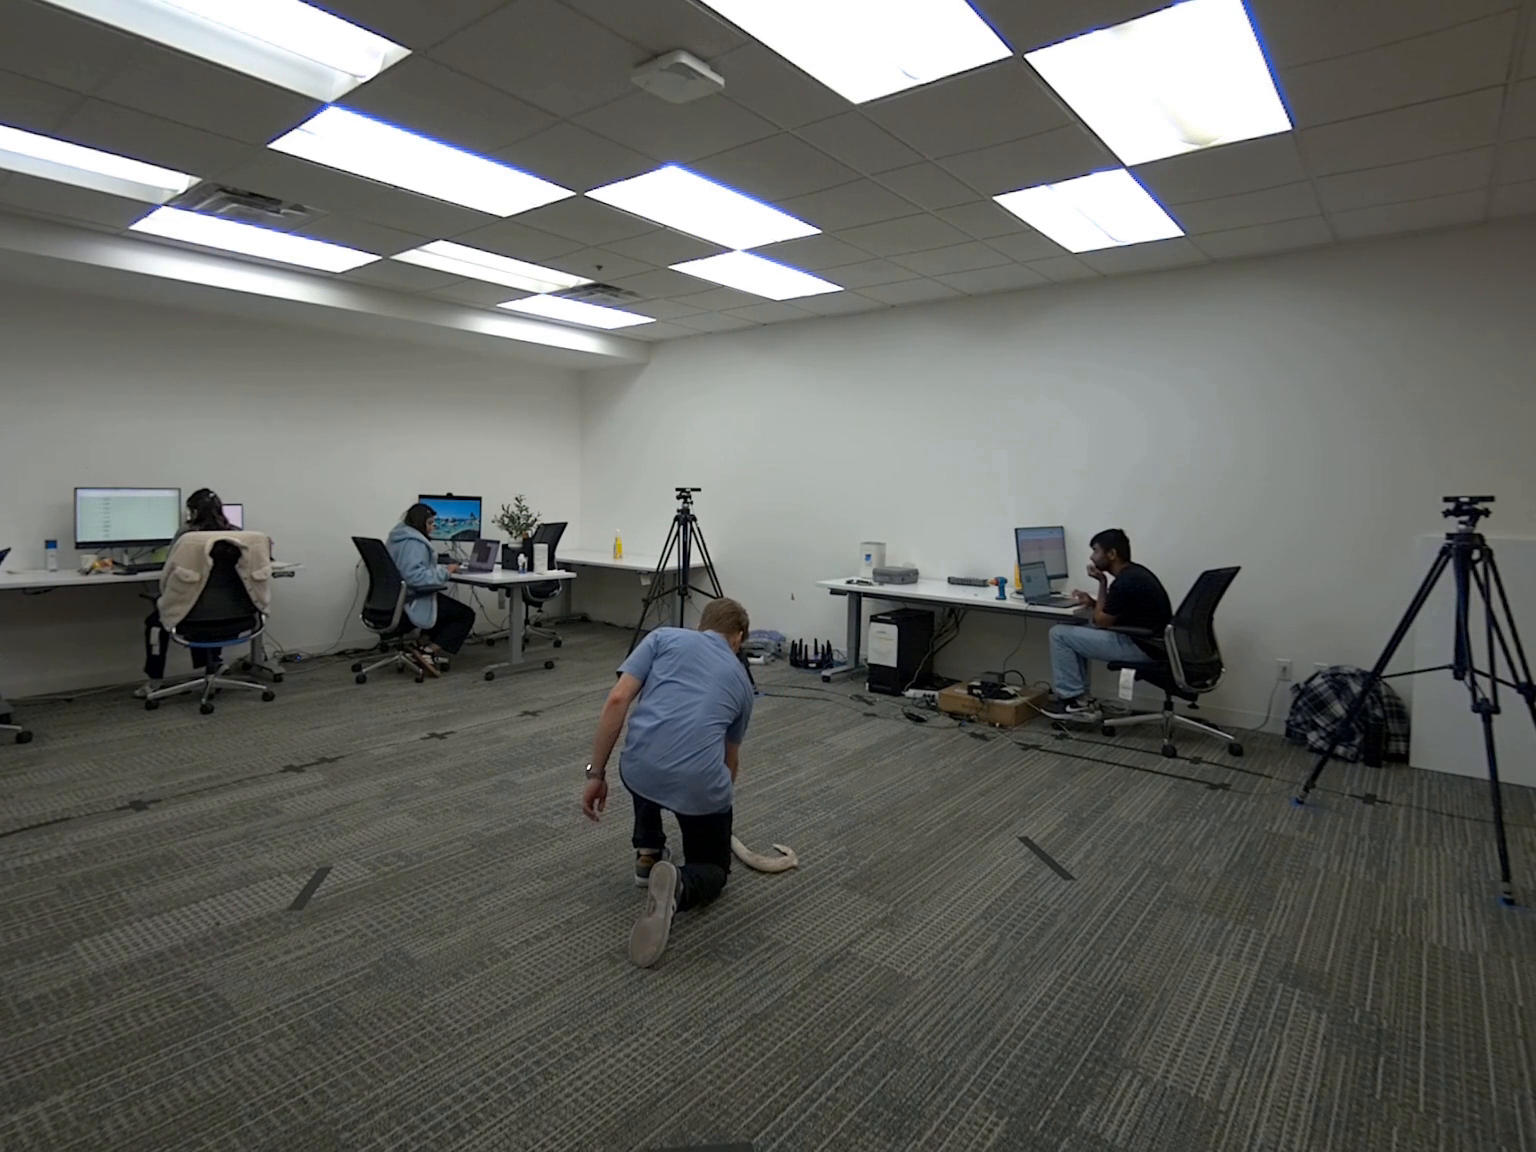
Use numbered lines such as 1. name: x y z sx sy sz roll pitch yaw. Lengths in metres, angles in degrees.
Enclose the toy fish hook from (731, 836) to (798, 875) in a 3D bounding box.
1. toy fish hook: -0.088 1.038 3.312 0.217 0.048 0.524 7 1 -36
